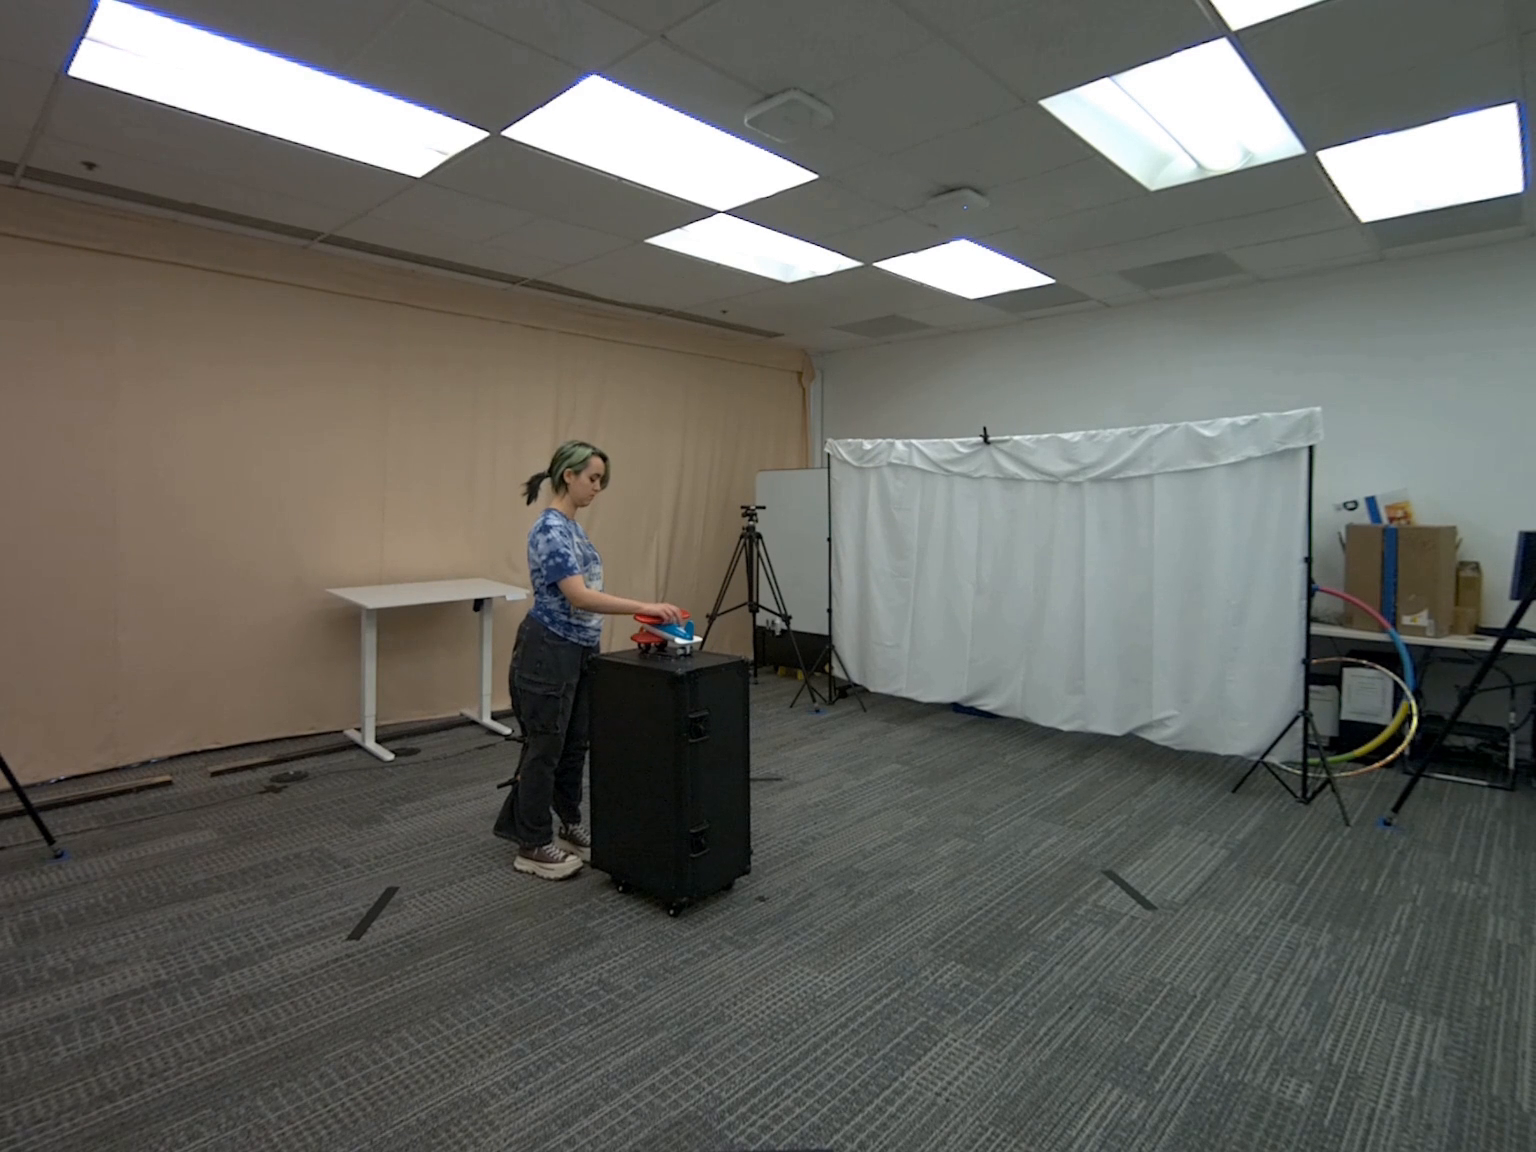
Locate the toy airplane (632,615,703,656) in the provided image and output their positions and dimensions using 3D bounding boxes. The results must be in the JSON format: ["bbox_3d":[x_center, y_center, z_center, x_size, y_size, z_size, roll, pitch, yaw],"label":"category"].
[{"bbox_3d":[-0.365,0.208,3.140,0.263,0.156,0.247,0,2,13],"label":"toy airplane"}]
